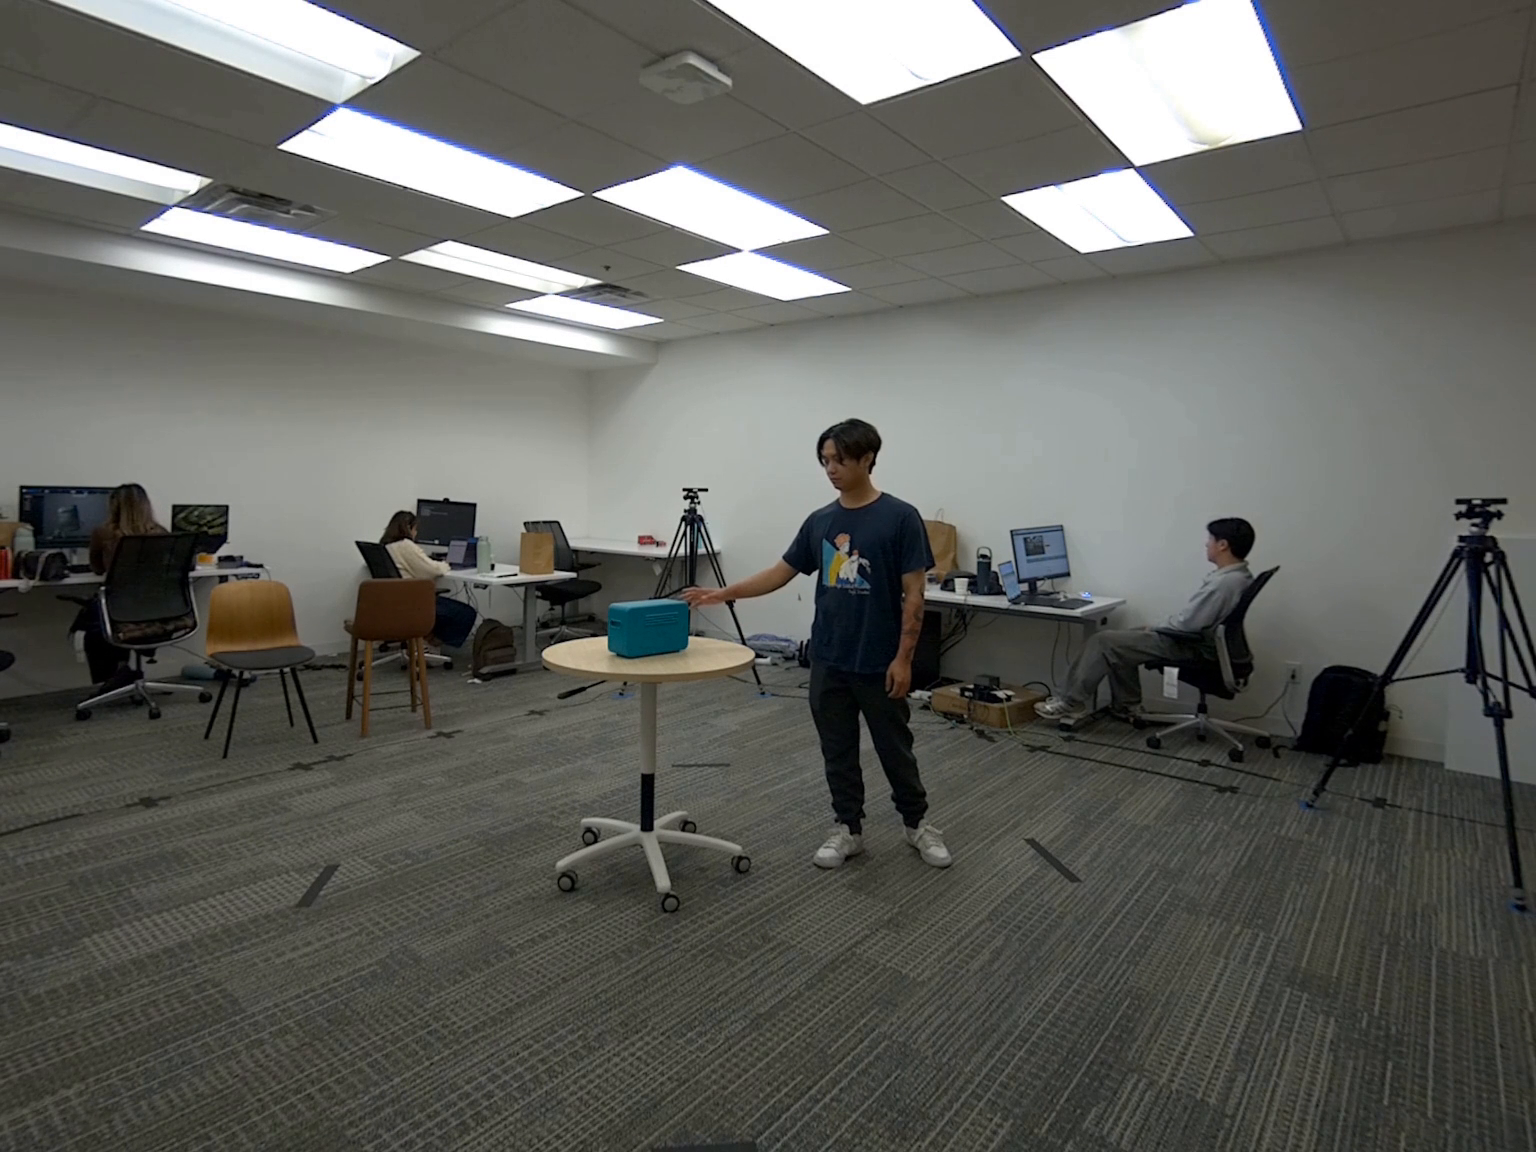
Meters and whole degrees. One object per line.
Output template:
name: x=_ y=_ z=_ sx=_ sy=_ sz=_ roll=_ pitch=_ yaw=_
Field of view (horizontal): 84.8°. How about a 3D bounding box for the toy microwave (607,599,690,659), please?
toy microwave: x=-0.448 y=0.181 z=3.070 sx=0.277 sy=0.183 sz=0.157 roll=-3 pitch=5 yaw=-42
